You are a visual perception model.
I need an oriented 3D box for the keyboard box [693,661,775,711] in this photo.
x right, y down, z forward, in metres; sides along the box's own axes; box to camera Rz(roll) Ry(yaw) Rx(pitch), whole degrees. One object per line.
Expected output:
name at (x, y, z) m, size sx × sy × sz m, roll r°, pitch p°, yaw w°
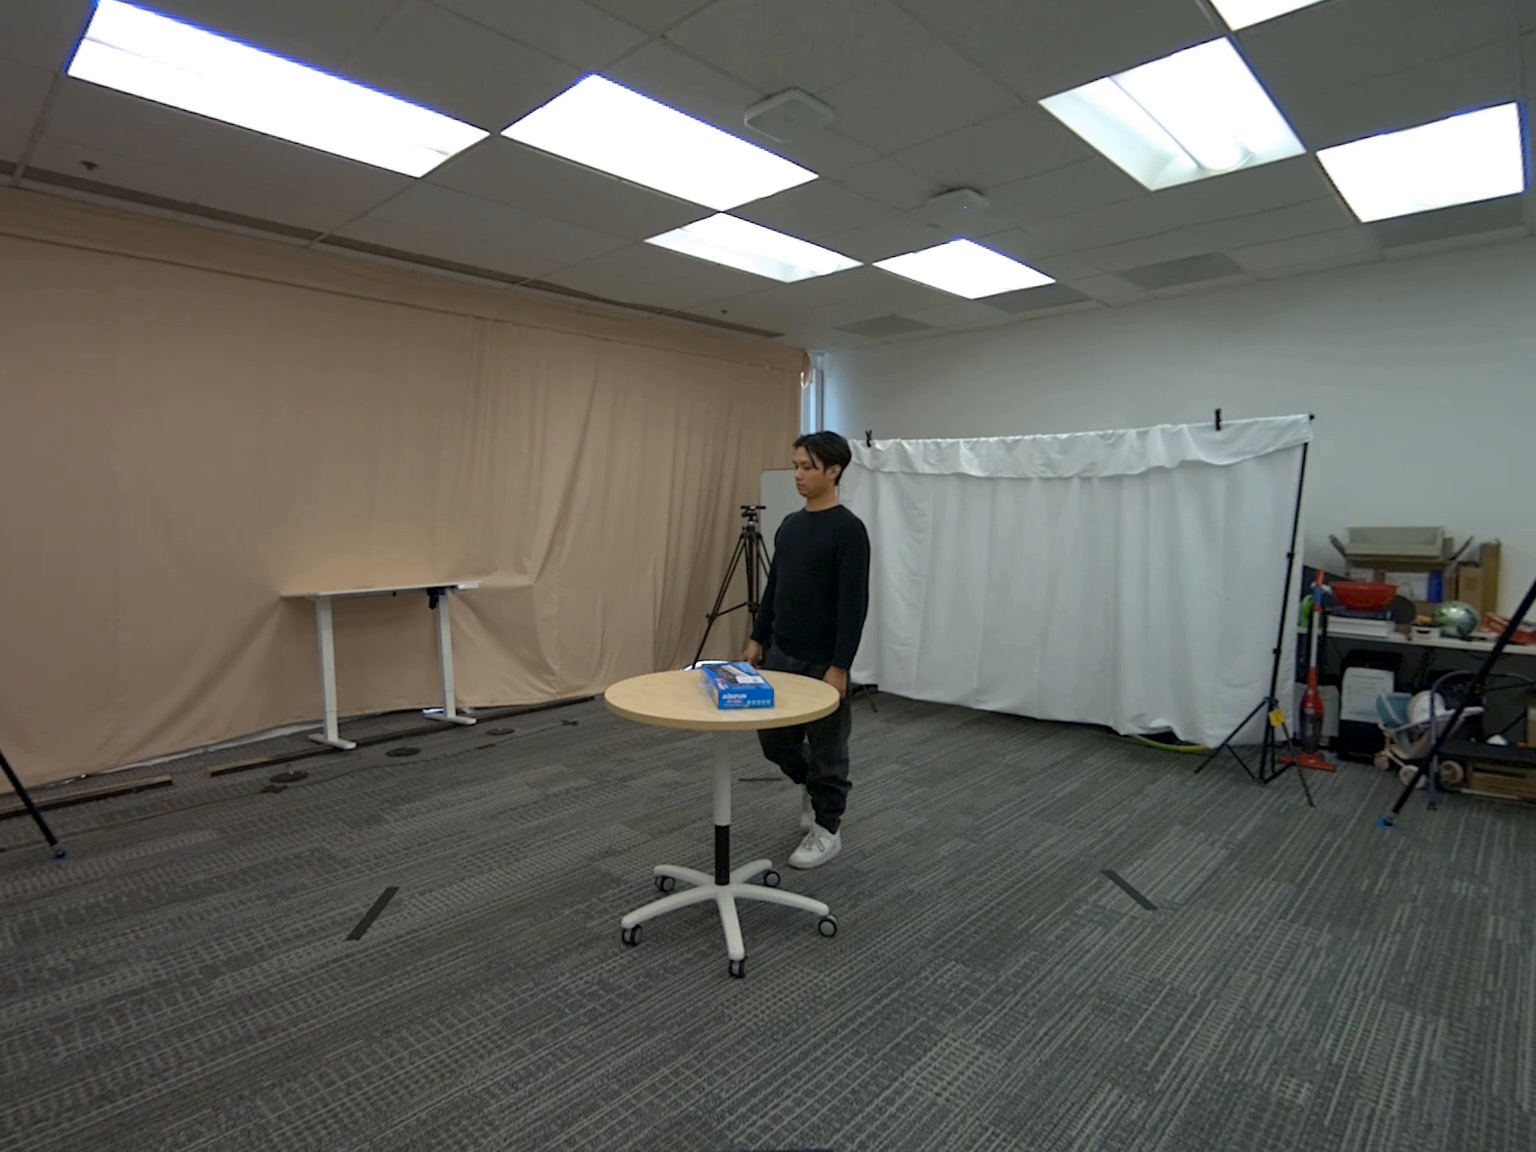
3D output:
keyboard box at (-0.105, 0.350, 2.742) m, size 0.174 × 0.059 × 0.443 m, roll 0°, pitch 5°, yaw -11°
